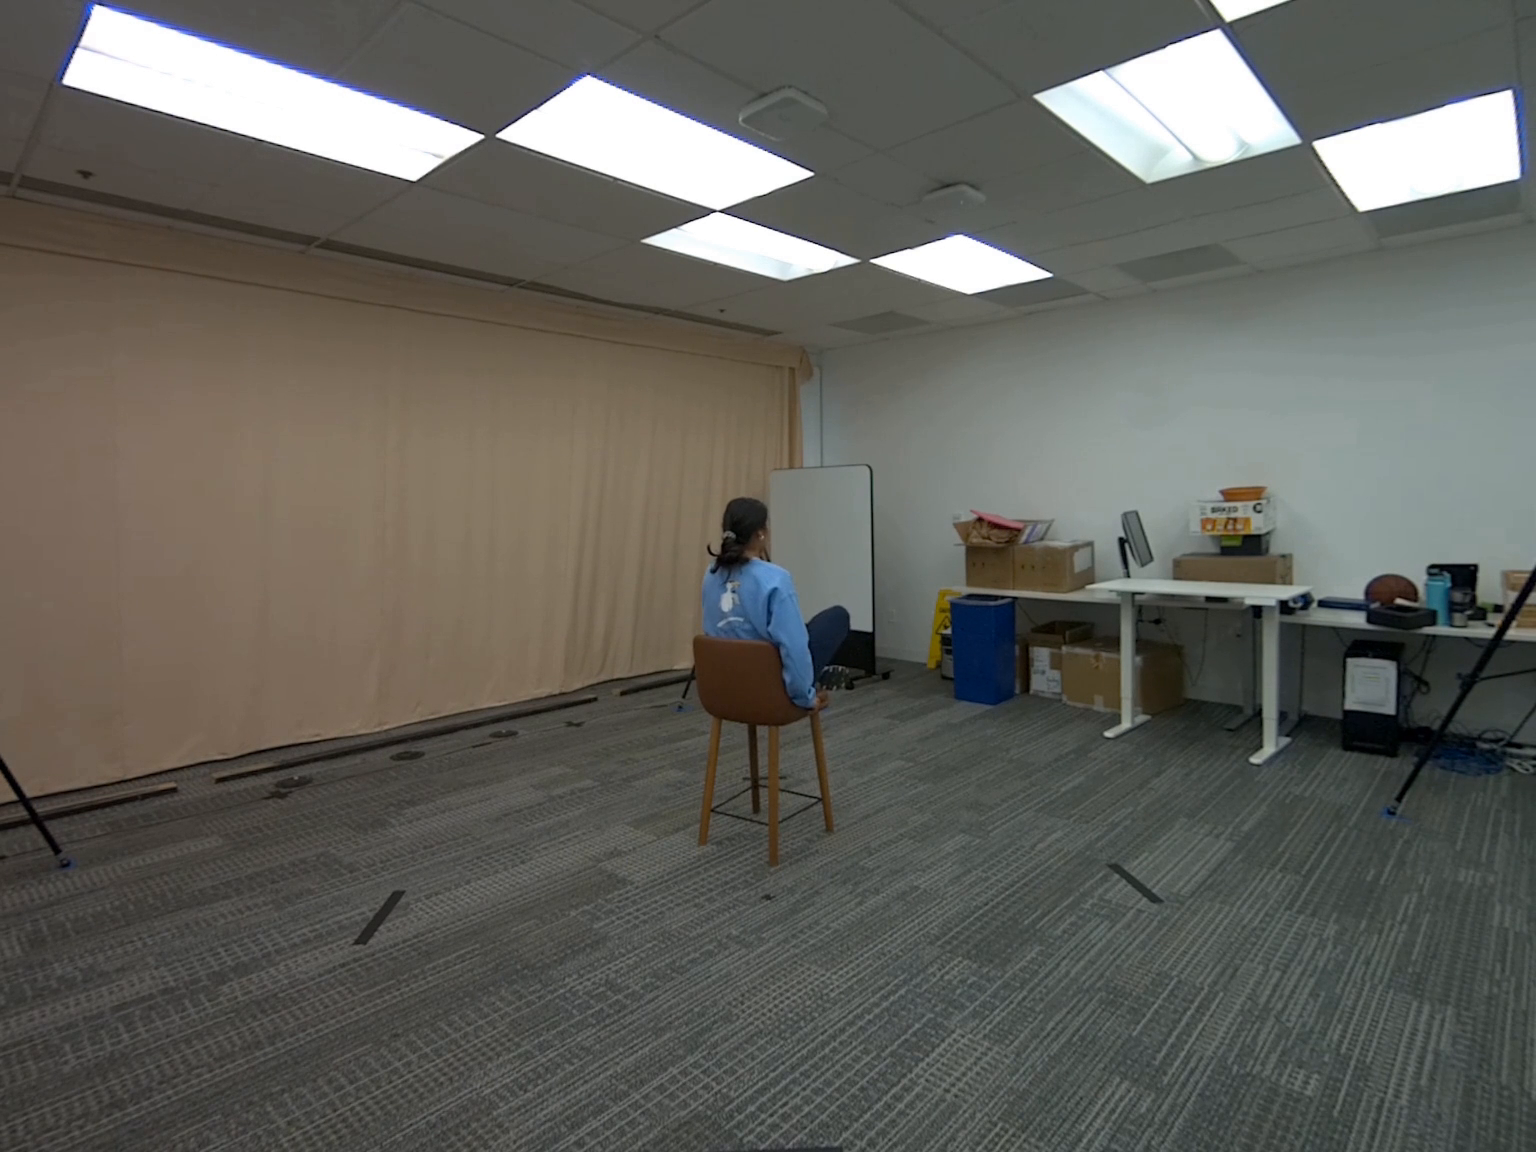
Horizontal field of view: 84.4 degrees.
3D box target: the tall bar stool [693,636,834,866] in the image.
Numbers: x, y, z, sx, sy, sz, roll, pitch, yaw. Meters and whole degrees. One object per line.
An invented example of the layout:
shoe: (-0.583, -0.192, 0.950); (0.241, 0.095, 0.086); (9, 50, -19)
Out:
tall bar stool: (-0.021, 0.660, 3.497); (0.471, 0.887, 0.455); (1, 6, 36)
